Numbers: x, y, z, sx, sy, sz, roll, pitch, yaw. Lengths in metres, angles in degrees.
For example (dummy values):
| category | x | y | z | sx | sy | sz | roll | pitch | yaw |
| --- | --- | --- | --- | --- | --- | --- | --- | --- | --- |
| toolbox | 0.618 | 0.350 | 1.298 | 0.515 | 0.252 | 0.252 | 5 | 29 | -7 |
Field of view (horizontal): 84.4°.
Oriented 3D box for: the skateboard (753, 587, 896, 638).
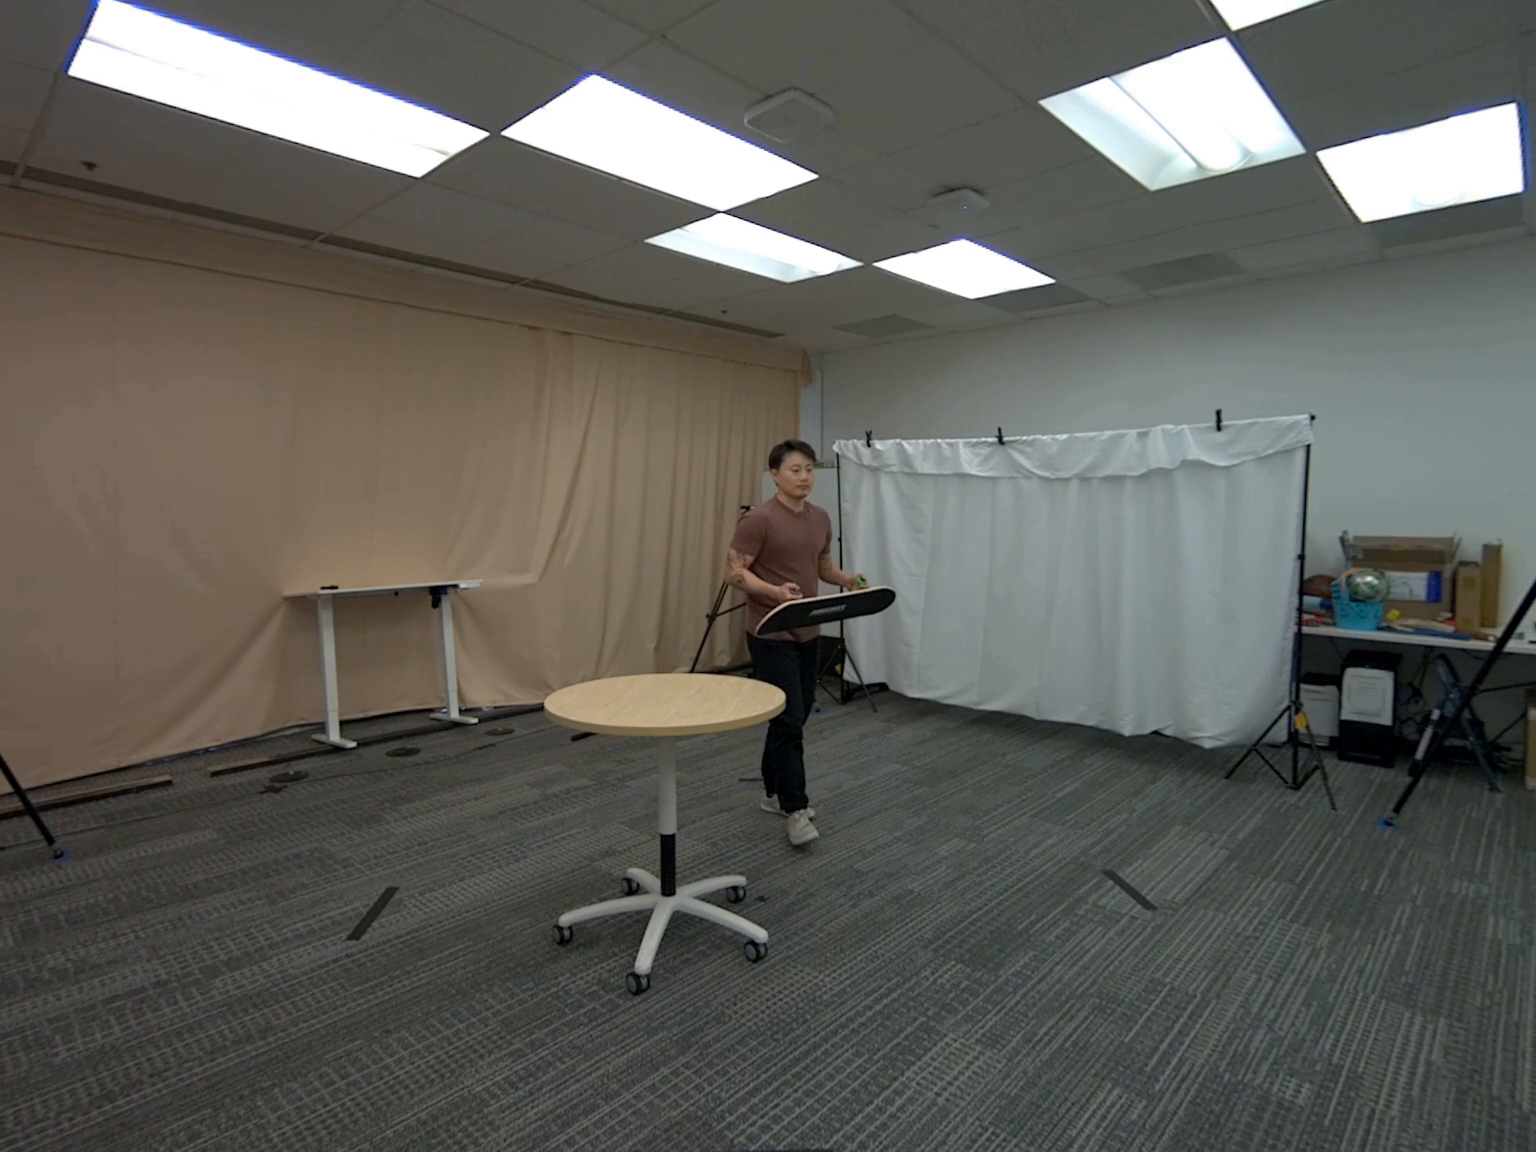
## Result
| category | x | y | z | sx | sy | sz | roll | pitch | yaw |
| --- | --- | --- | --- | --- | --- | --- | --- | --- | --- |
| skateboard | 0.233 | 0.125 | 3.563 | 0.763 | 0.193 | 0.113 | -8 | 51 | -38 |
